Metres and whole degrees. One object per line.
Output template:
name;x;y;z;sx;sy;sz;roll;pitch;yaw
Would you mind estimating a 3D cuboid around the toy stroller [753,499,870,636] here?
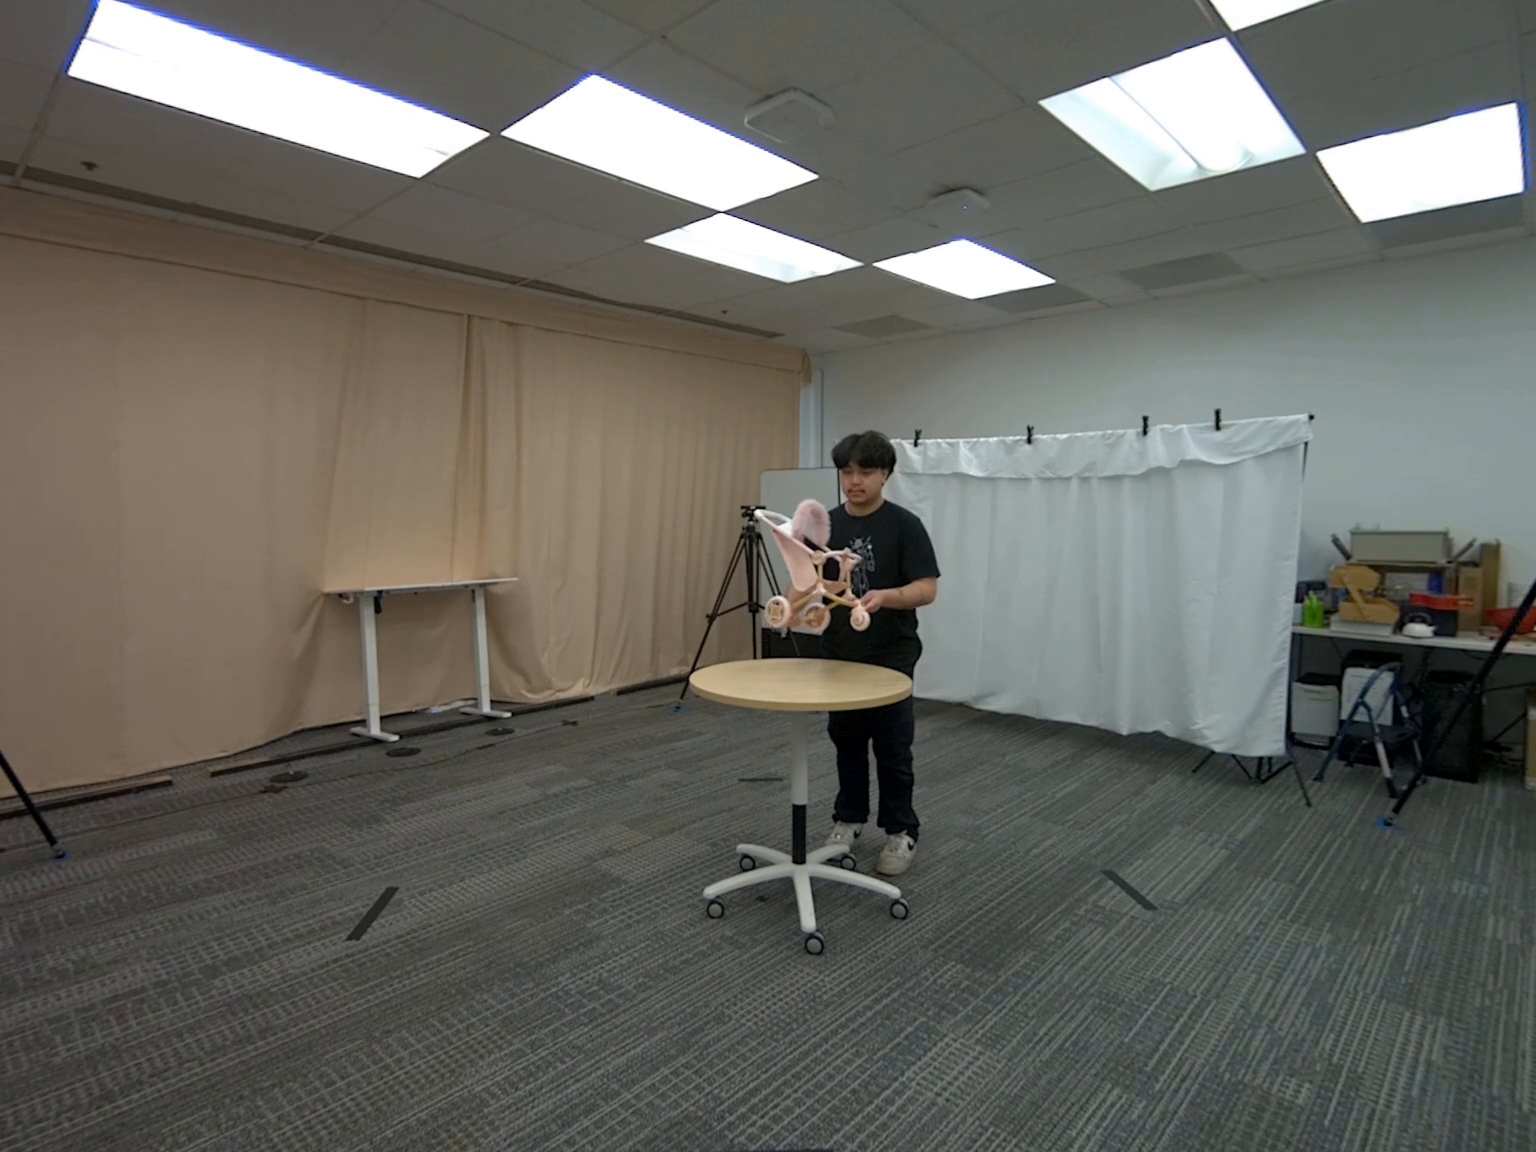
toy stroller;0.172;-0.027;2.984;0.349;0.542;0.272;-23;-21;38
